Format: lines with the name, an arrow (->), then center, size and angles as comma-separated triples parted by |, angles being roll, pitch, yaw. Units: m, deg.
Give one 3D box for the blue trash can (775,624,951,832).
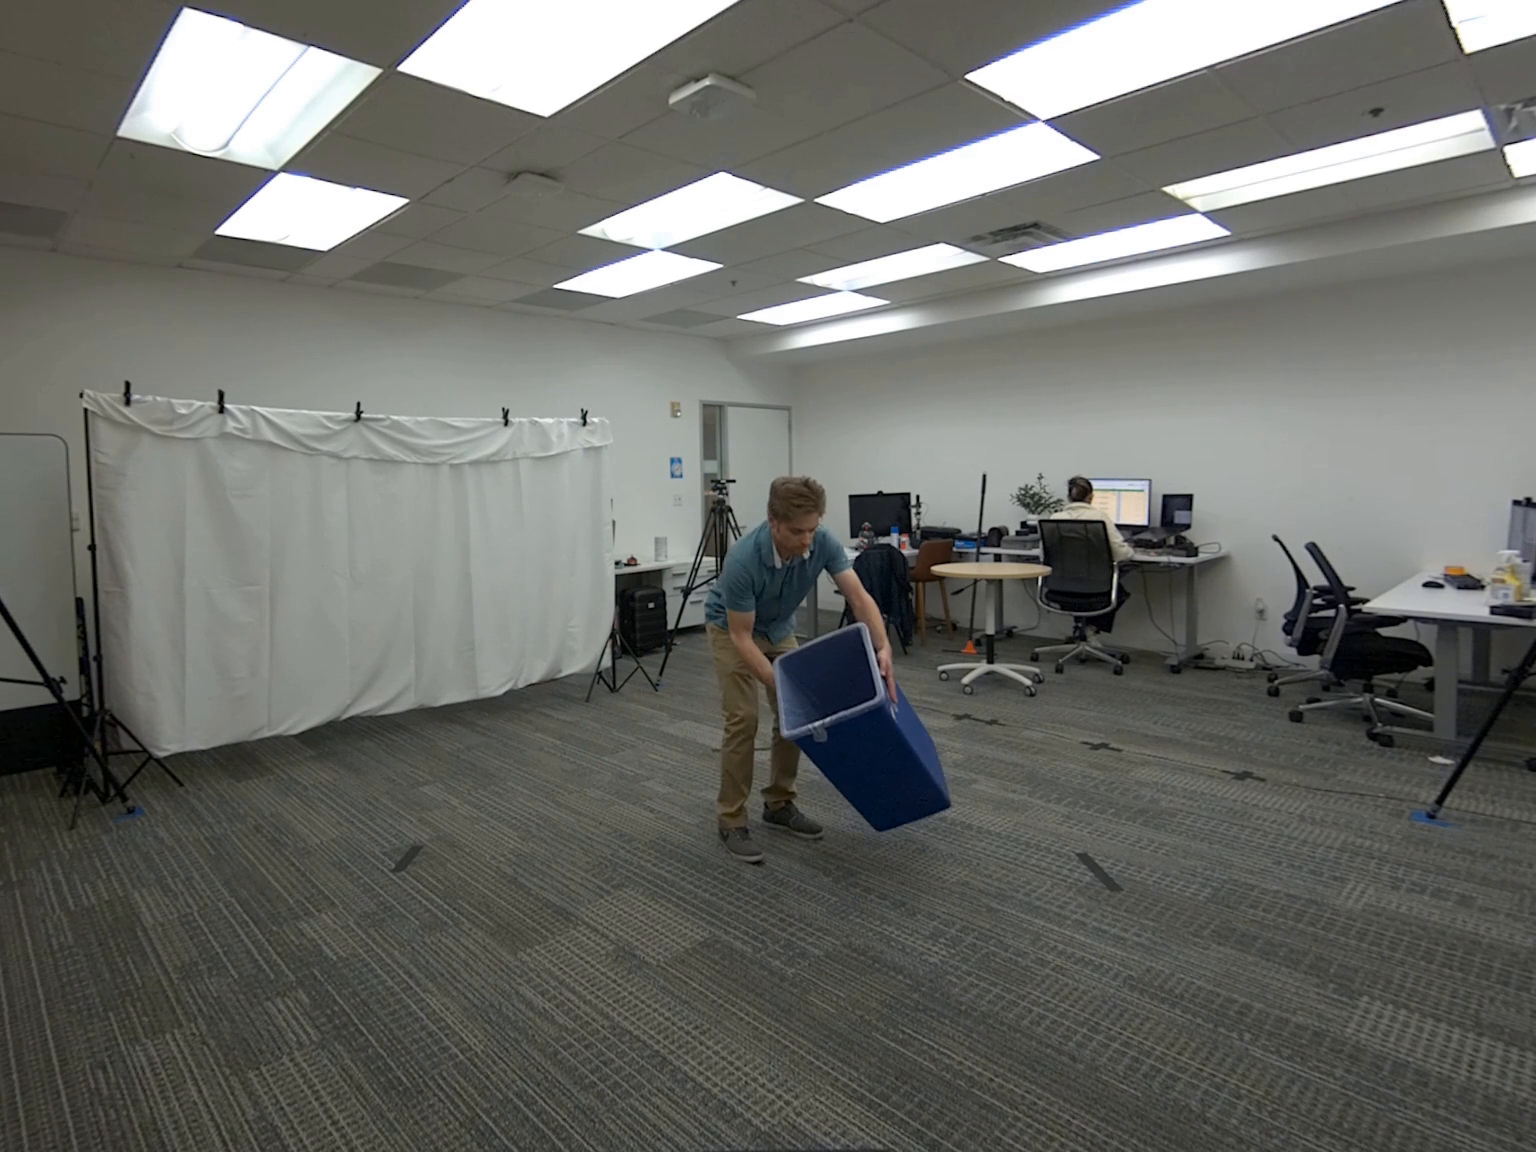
blue trash can -> 0.356, 0.577, 3.060 | 0.377, 0.688, 0.388 | -25, 35, 16
